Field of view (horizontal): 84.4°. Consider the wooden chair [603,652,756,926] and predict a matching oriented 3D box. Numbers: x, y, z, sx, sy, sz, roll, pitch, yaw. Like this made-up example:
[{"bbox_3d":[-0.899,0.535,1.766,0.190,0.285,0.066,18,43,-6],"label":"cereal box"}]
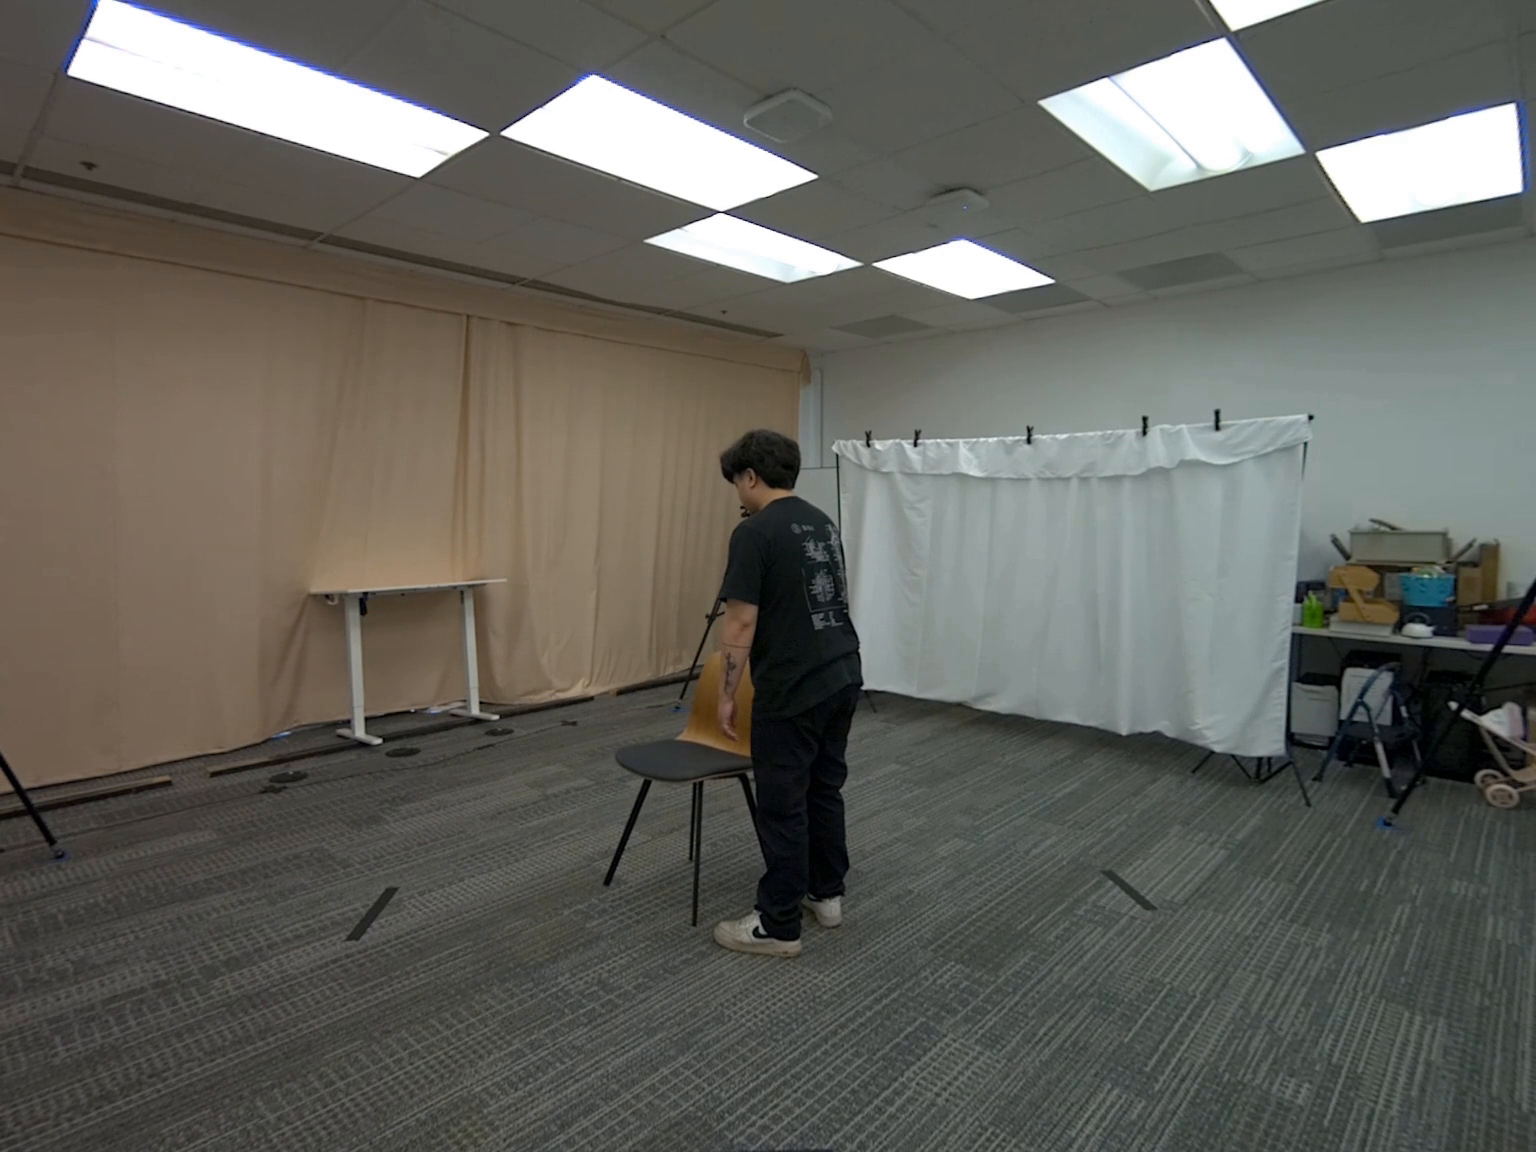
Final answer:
[{"bbox_3d":[-0.249,0.695,3.008,0.494,0.879,0.505,3,-6,41],"label":"wooden chair"}]
